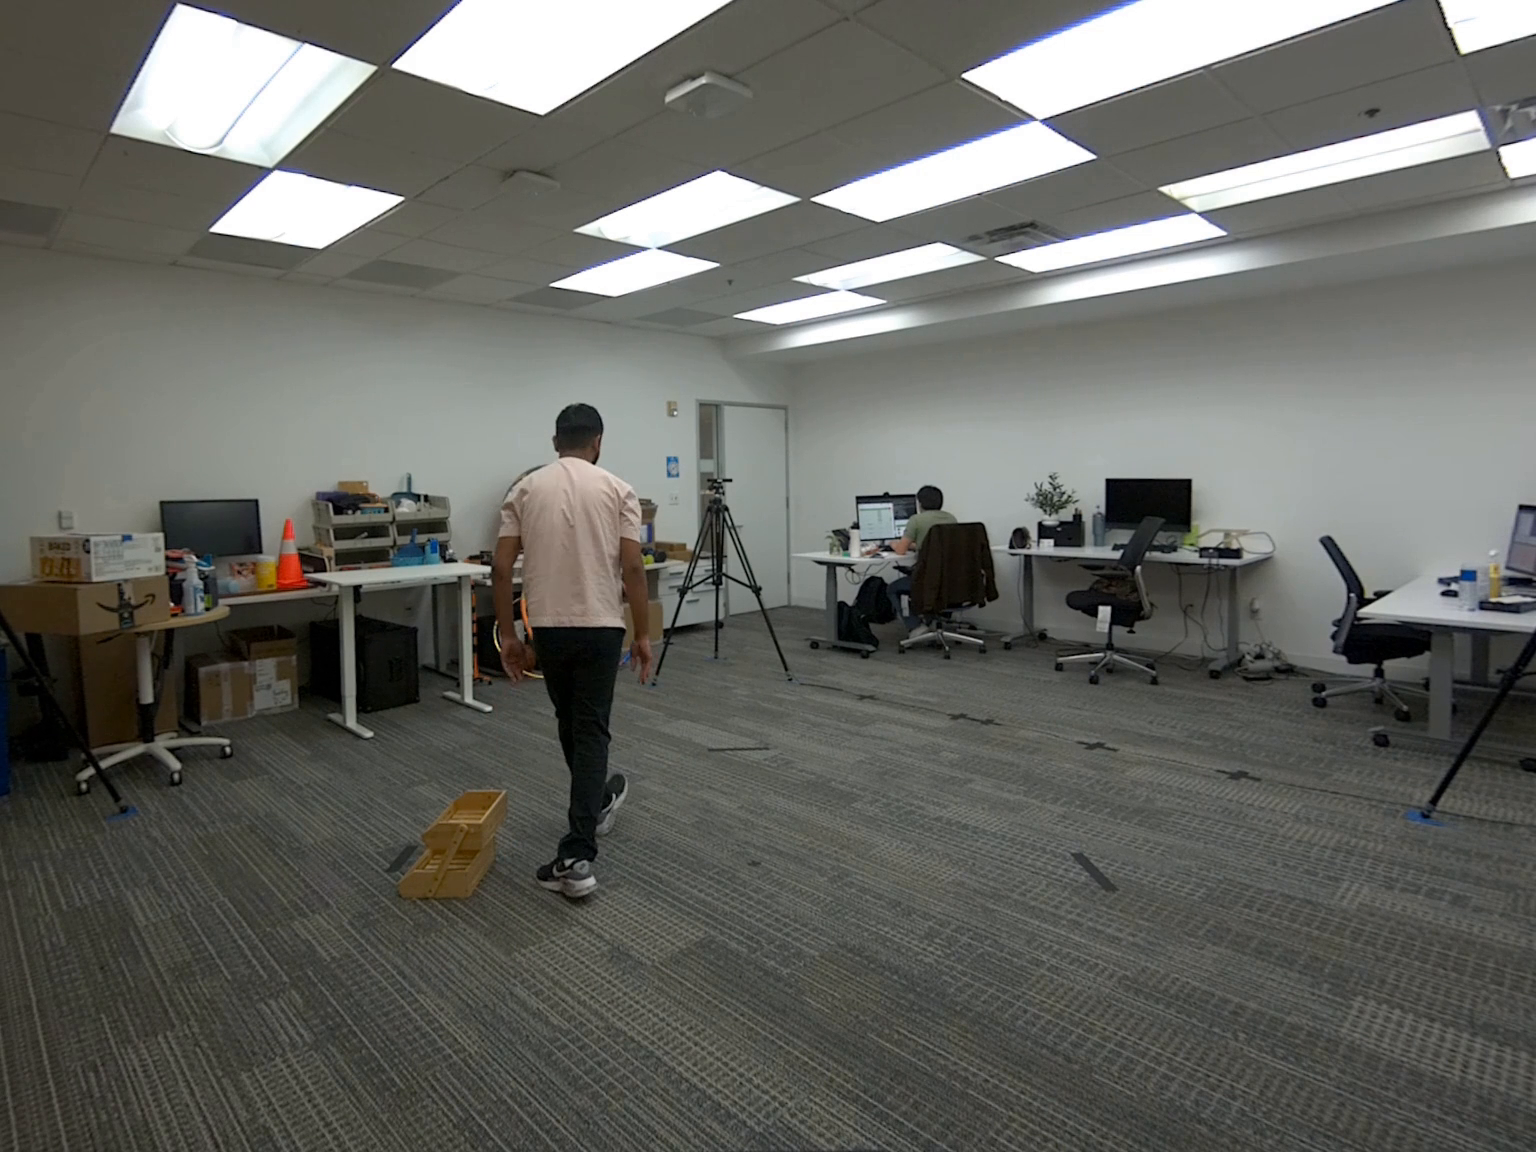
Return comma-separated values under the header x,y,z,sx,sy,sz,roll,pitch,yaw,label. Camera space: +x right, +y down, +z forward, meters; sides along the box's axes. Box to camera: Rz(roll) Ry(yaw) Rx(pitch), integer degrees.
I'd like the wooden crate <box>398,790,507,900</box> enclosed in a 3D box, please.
x,y,z,sx,sy,sz,roll,pitch,yaw,label
-1.118,0.944,3.035,0.302,0.272,0.326,-2,6,0,wooden crate
